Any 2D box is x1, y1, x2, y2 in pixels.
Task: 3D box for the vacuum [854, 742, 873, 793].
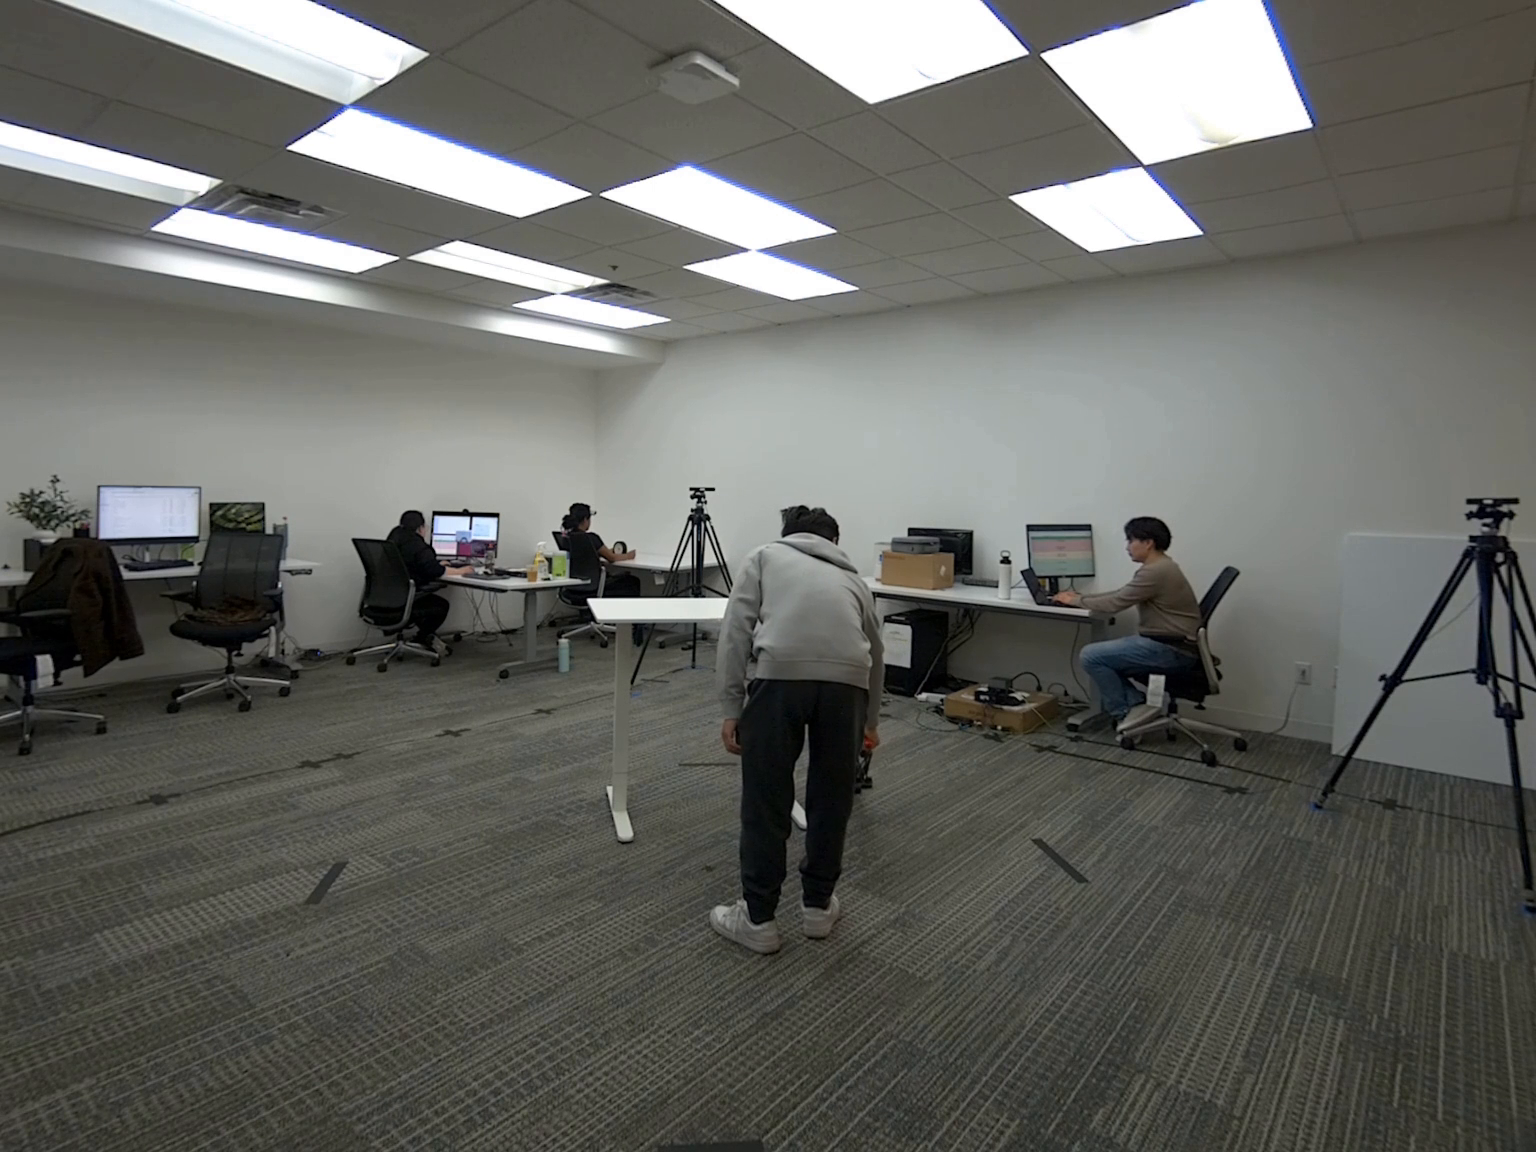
[{"bbox_3d":[0.337,0.773,3.476,0.255,0.146,1.025,11,-21,5],"label":"vacuum"}]
